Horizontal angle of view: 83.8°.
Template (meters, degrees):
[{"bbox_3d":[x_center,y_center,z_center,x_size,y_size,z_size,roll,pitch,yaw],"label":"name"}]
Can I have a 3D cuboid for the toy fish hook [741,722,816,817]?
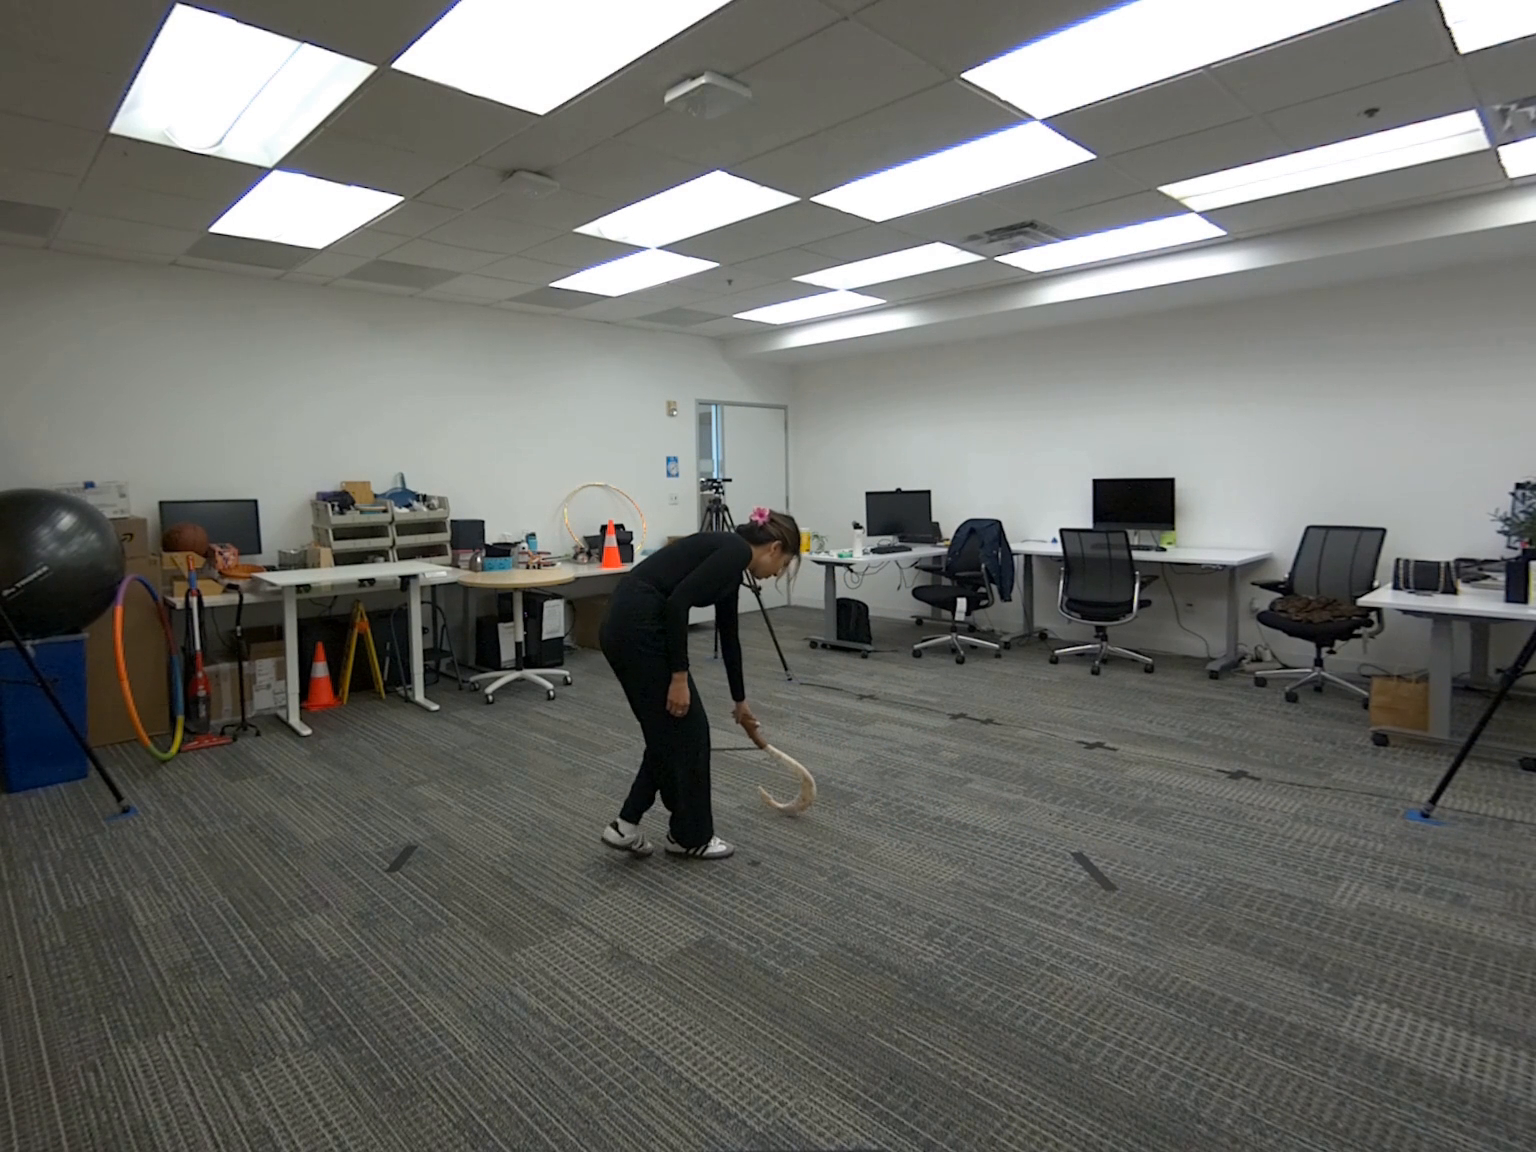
[{"bbox_3d":[-0.010,0.771,3.532,0.225,0.509,0.048,-39,-3,4],"label":"toy fish hook"}]
